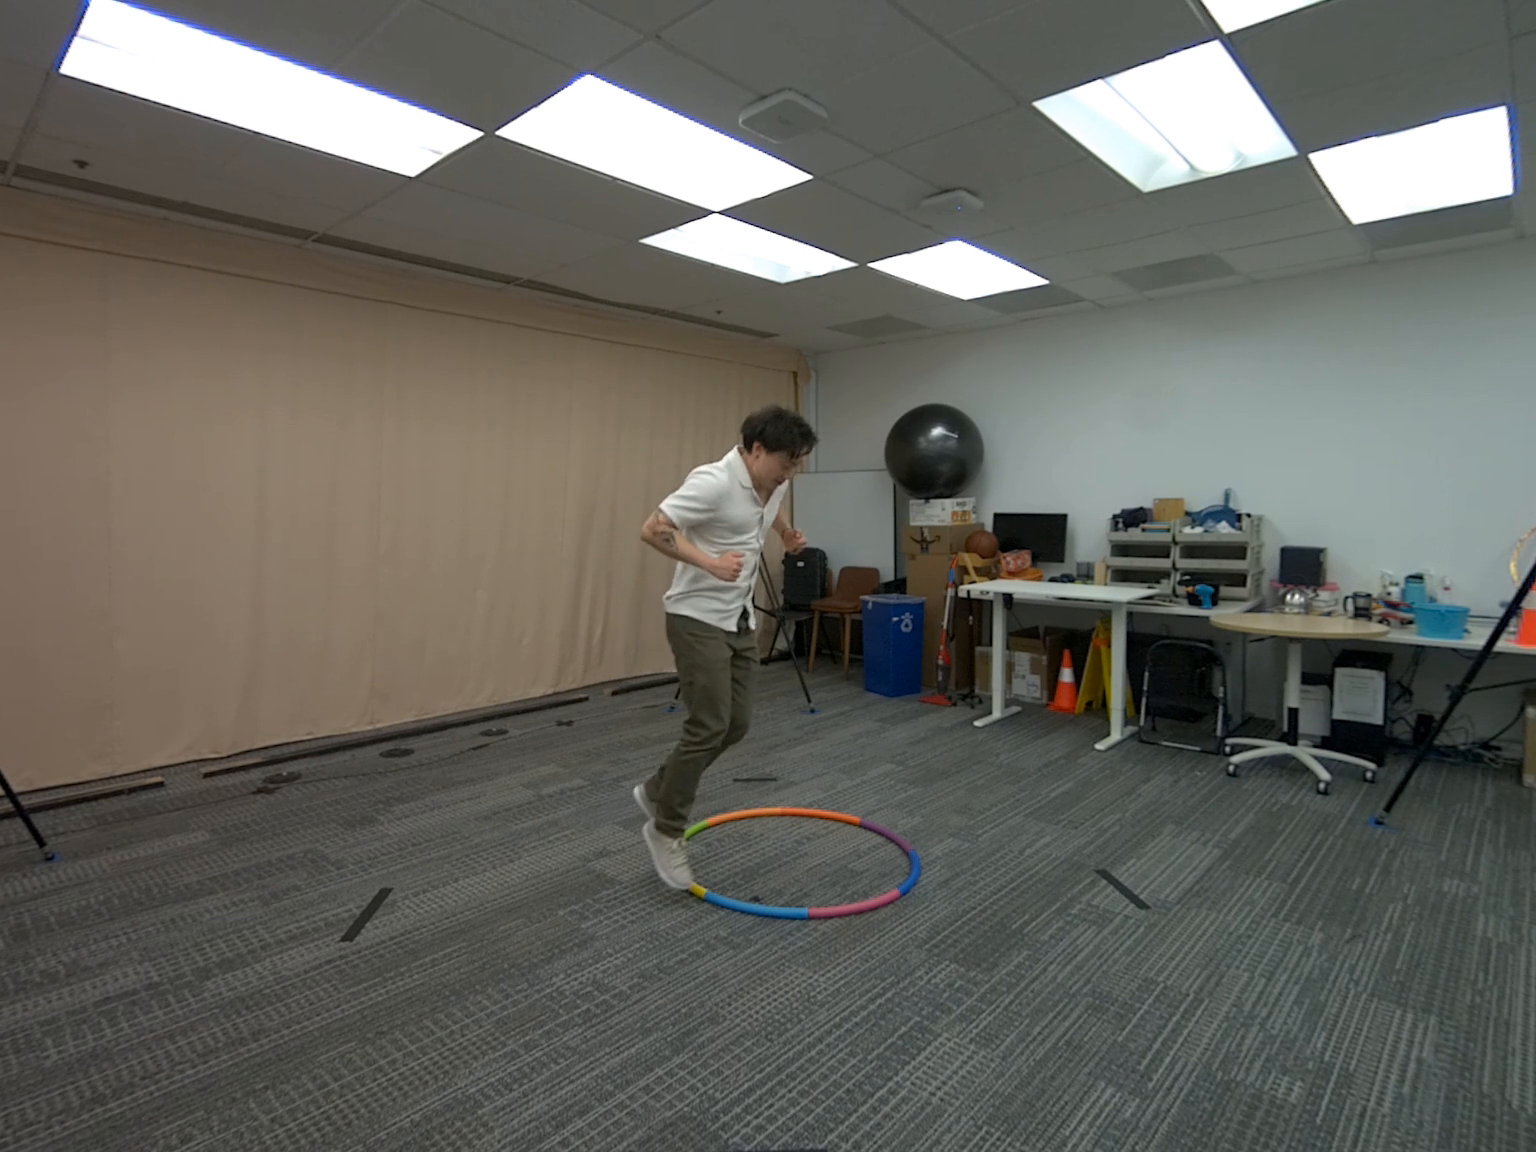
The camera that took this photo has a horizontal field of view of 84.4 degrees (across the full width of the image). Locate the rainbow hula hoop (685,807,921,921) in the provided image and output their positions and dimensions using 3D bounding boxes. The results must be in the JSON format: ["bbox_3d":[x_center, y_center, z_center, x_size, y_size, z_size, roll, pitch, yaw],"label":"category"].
[{"bbox_3d":[0.097,1.087,3.313,0.978,0.035,0.982,0,5,-2],"label":"rainbow hula hoop"}]
